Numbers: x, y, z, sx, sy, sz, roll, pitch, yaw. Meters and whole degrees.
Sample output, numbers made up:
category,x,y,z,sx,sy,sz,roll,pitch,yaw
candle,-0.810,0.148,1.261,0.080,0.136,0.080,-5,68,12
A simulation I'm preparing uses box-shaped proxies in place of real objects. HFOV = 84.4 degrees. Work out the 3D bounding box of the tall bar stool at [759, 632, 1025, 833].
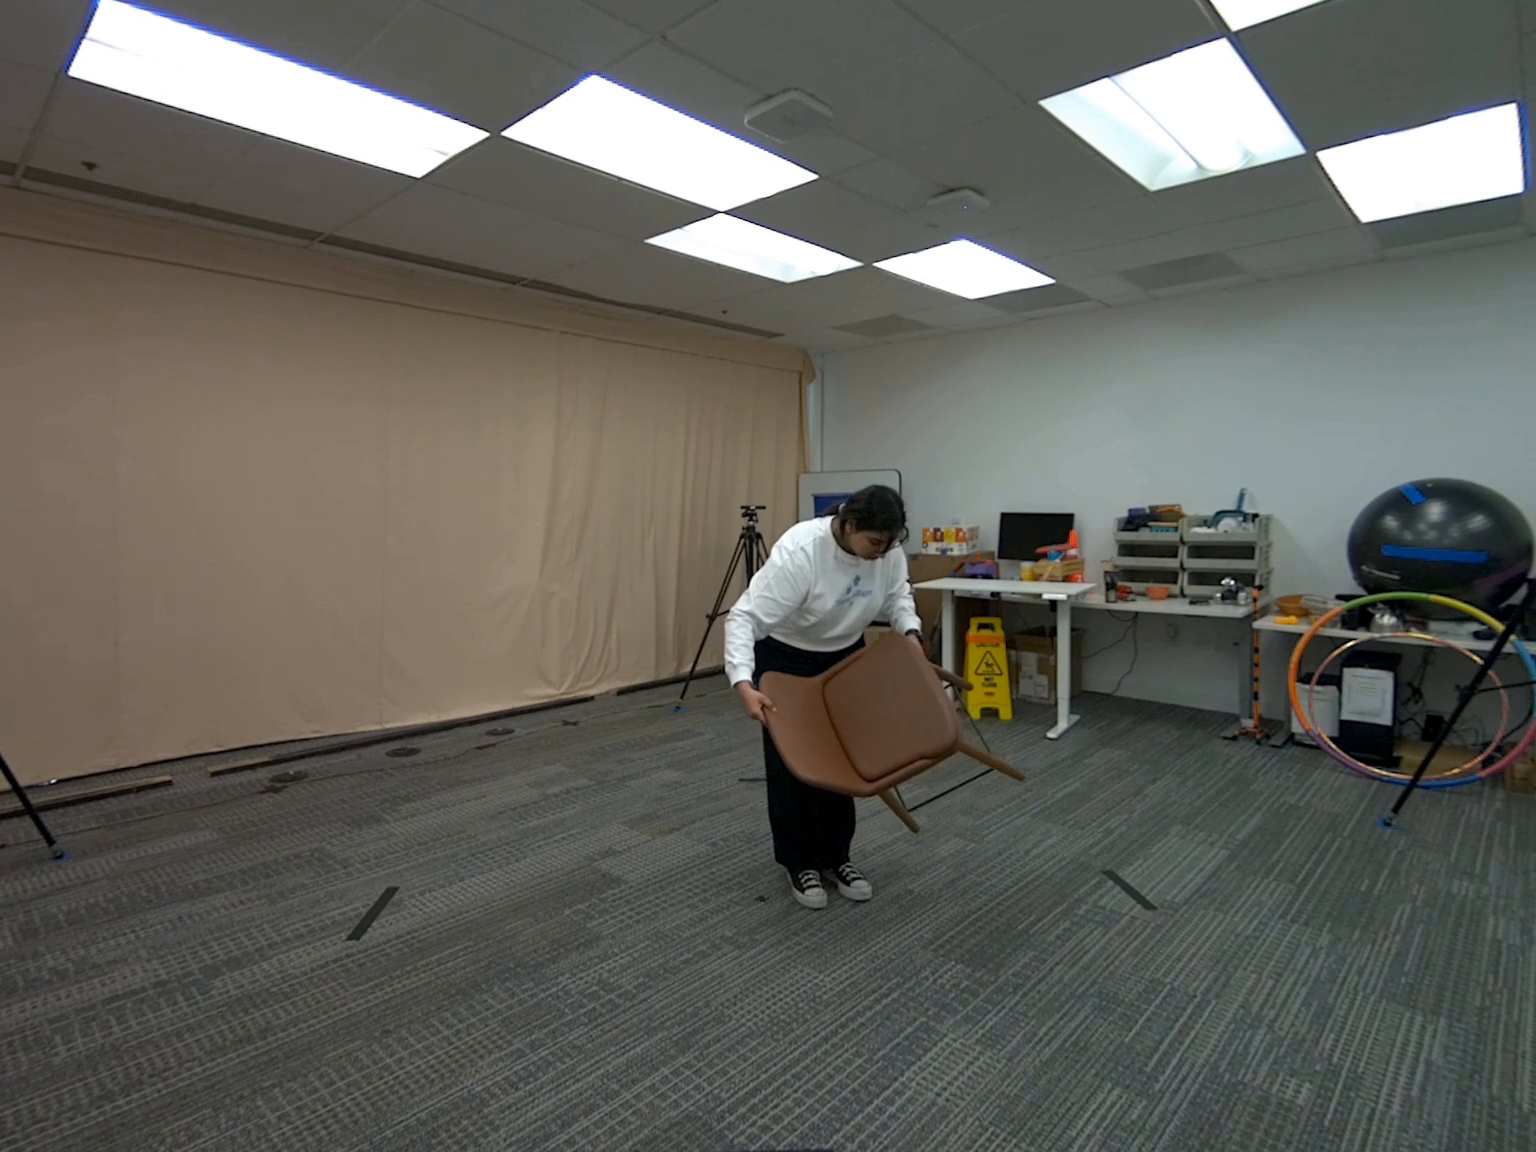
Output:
category,x,y,z,sx,sy,sz,roll,pitch,yaw
tall bar stool,0.441,0.515,2.790,0.471,0.469,0.857,-35,-41,16
